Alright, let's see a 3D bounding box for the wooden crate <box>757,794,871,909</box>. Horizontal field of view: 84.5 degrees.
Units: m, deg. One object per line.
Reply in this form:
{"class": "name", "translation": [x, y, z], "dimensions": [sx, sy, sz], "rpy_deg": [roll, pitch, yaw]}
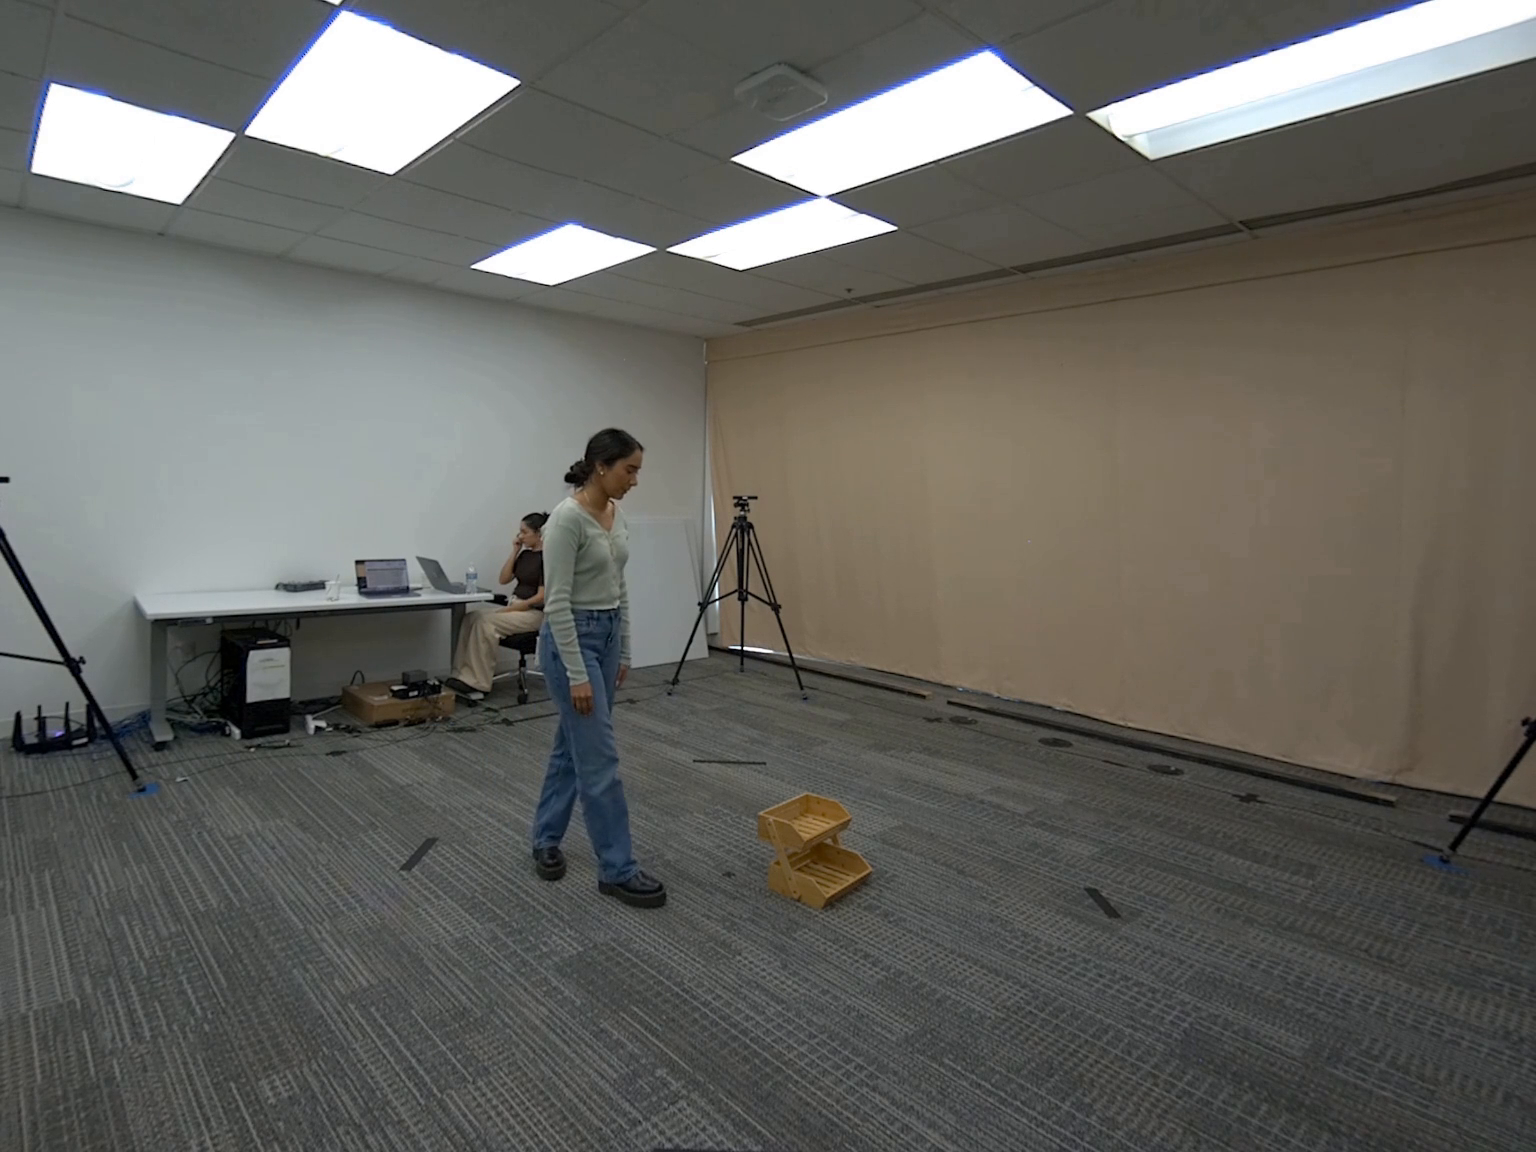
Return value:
{"class": "wooden crate", "translation": [0.169, 0.981, 3.043], "dimensions": [0.309, 0.272, 0.317], "rpy_deg": [4, 5, 39]}
